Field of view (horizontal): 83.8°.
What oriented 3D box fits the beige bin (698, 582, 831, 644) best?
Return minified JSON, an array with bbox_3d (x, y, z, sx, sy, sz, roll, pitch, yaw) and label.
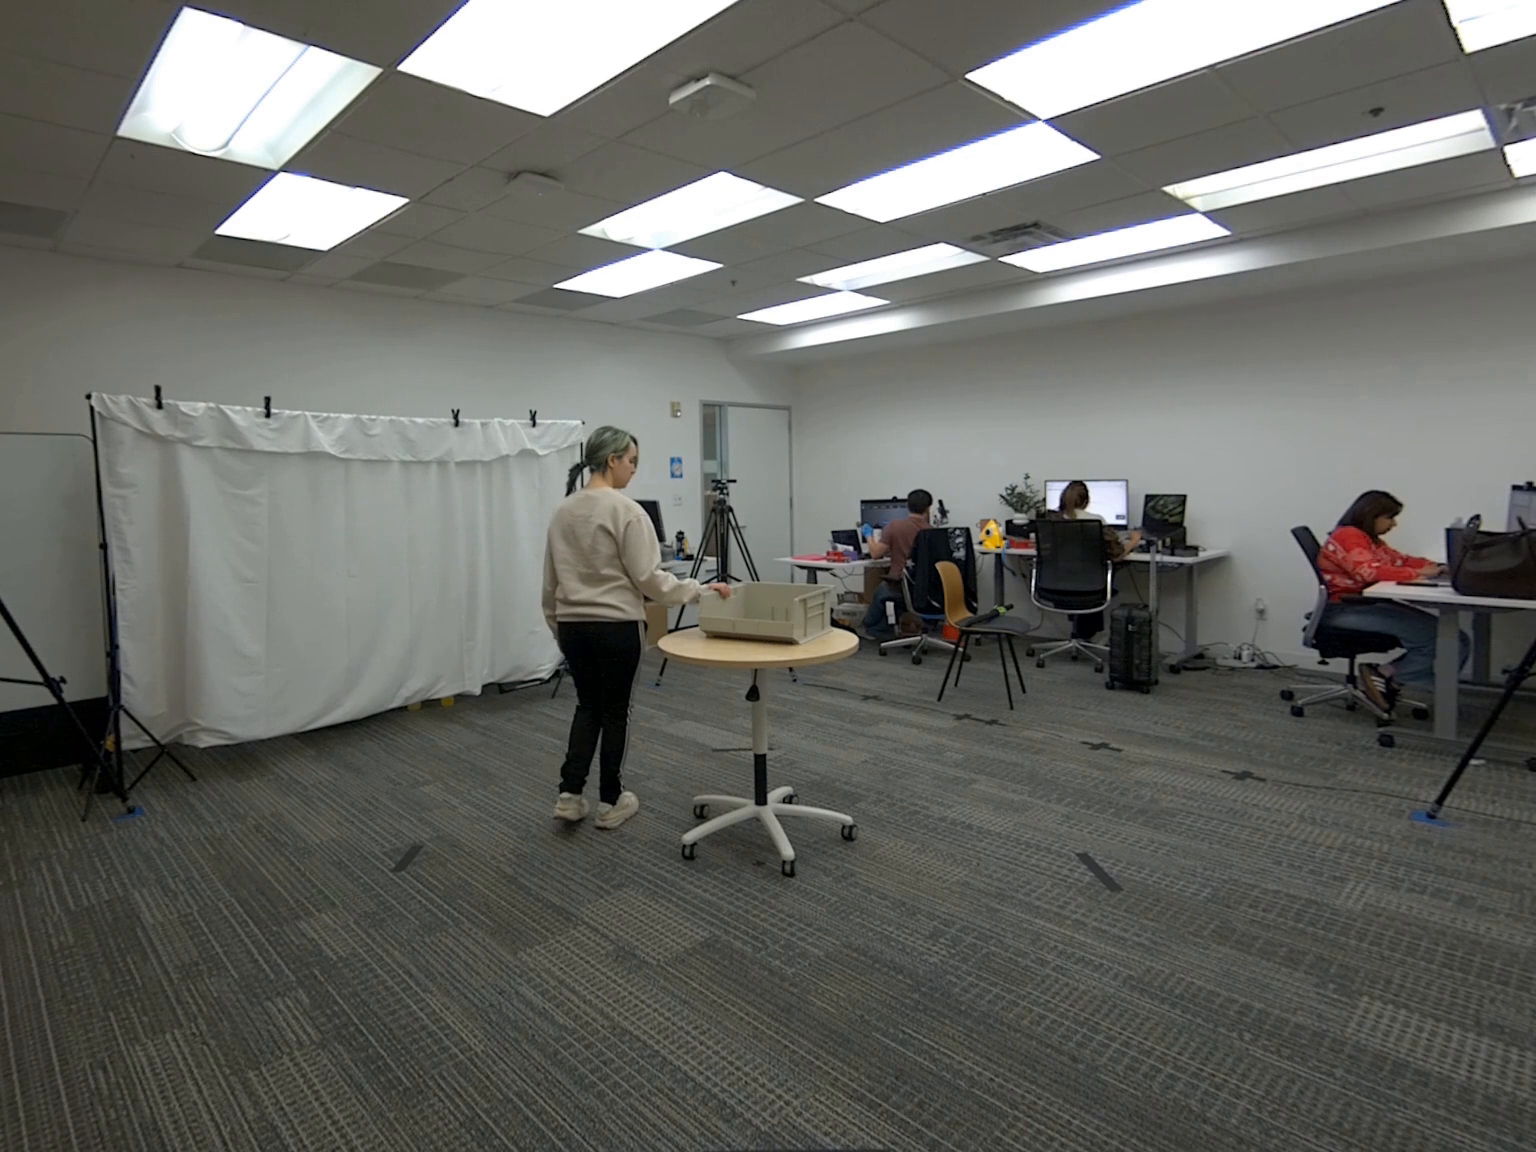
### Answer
[{"bbox_3d":[-0.001,0.139,3.361,0.433,0.188,0.369,2,5,29],"label":"beige bin"}]
